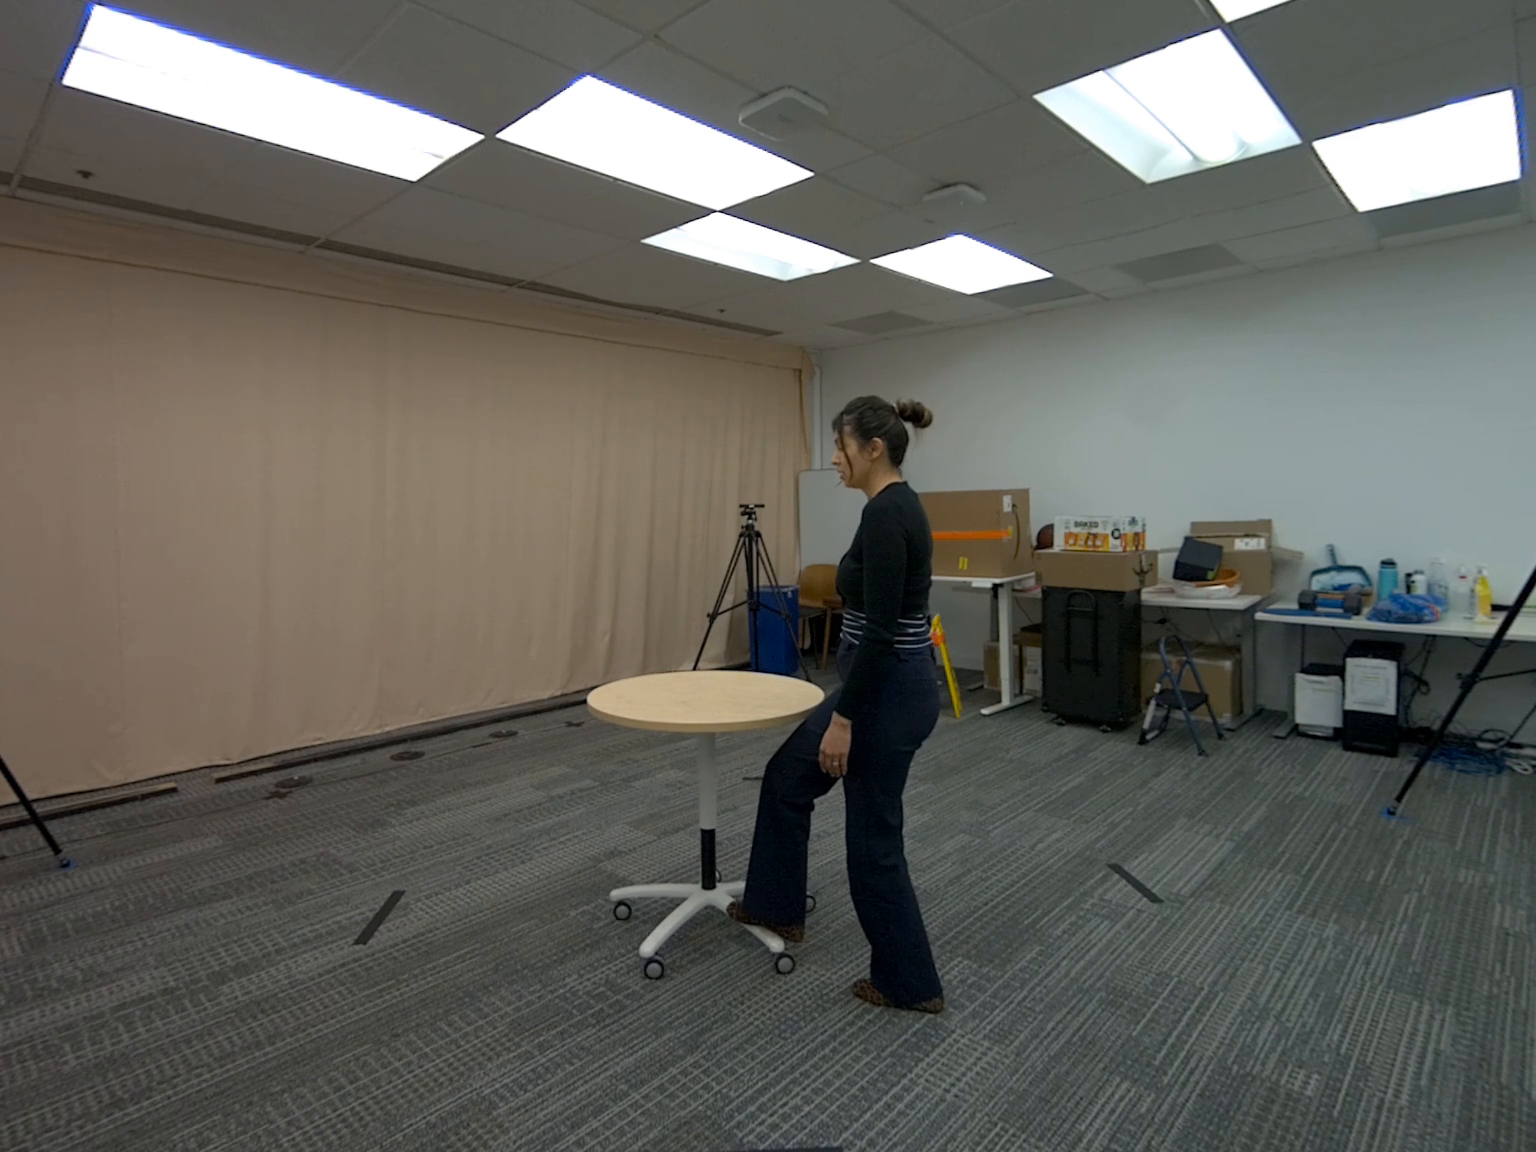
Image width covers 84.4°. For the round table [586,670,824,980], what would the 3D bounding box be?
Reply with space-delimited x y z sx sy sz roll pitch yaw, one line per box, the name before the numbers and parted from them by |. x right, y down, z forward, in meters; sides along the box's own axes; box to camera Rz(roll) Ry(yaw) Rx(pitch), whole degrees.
round table | -0.199 0.775 2.759 0.763 0.792 0.766 -1 3 -2
